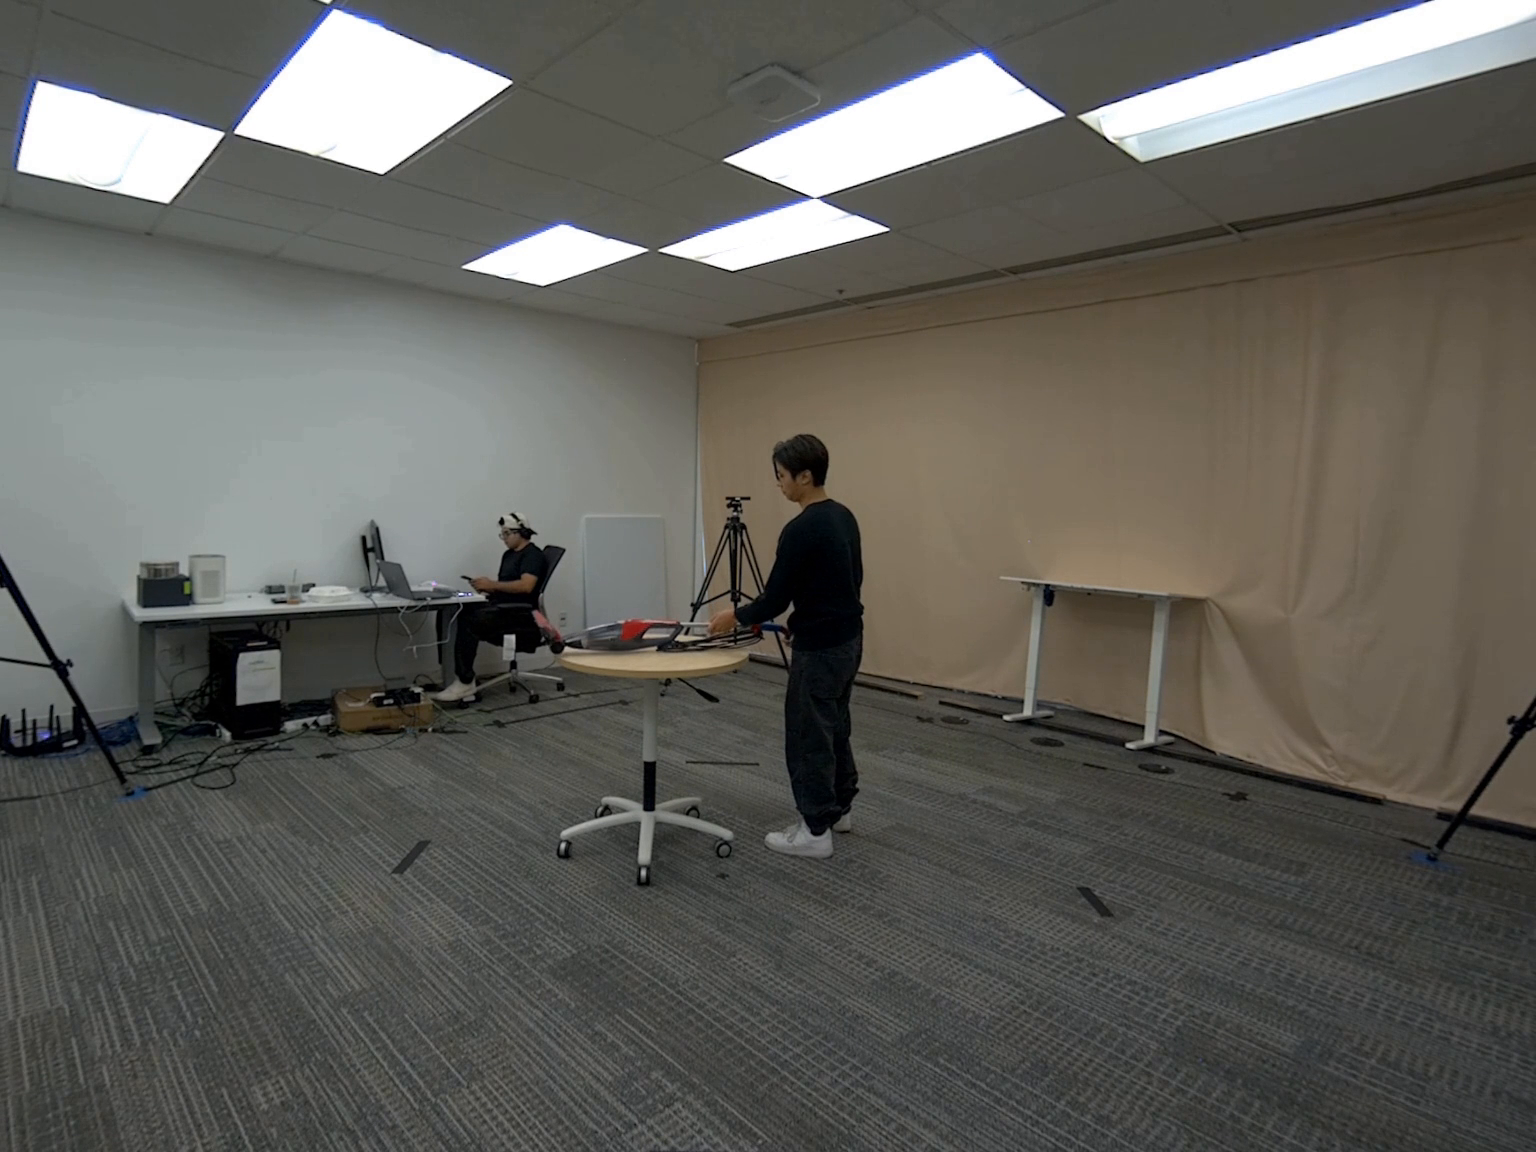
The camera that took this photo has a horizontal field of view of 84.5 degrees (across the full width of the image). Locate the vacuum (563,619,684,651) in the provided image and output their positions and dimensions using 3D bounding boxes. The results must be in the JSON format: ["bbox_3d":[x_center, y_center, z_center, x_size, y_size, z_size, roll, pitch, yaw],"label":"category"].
[{"bbox_3d":[-0.370,0.248,3.332,1.032,0.143,0.258,3,12,-20],"label":"vacuum"}]
